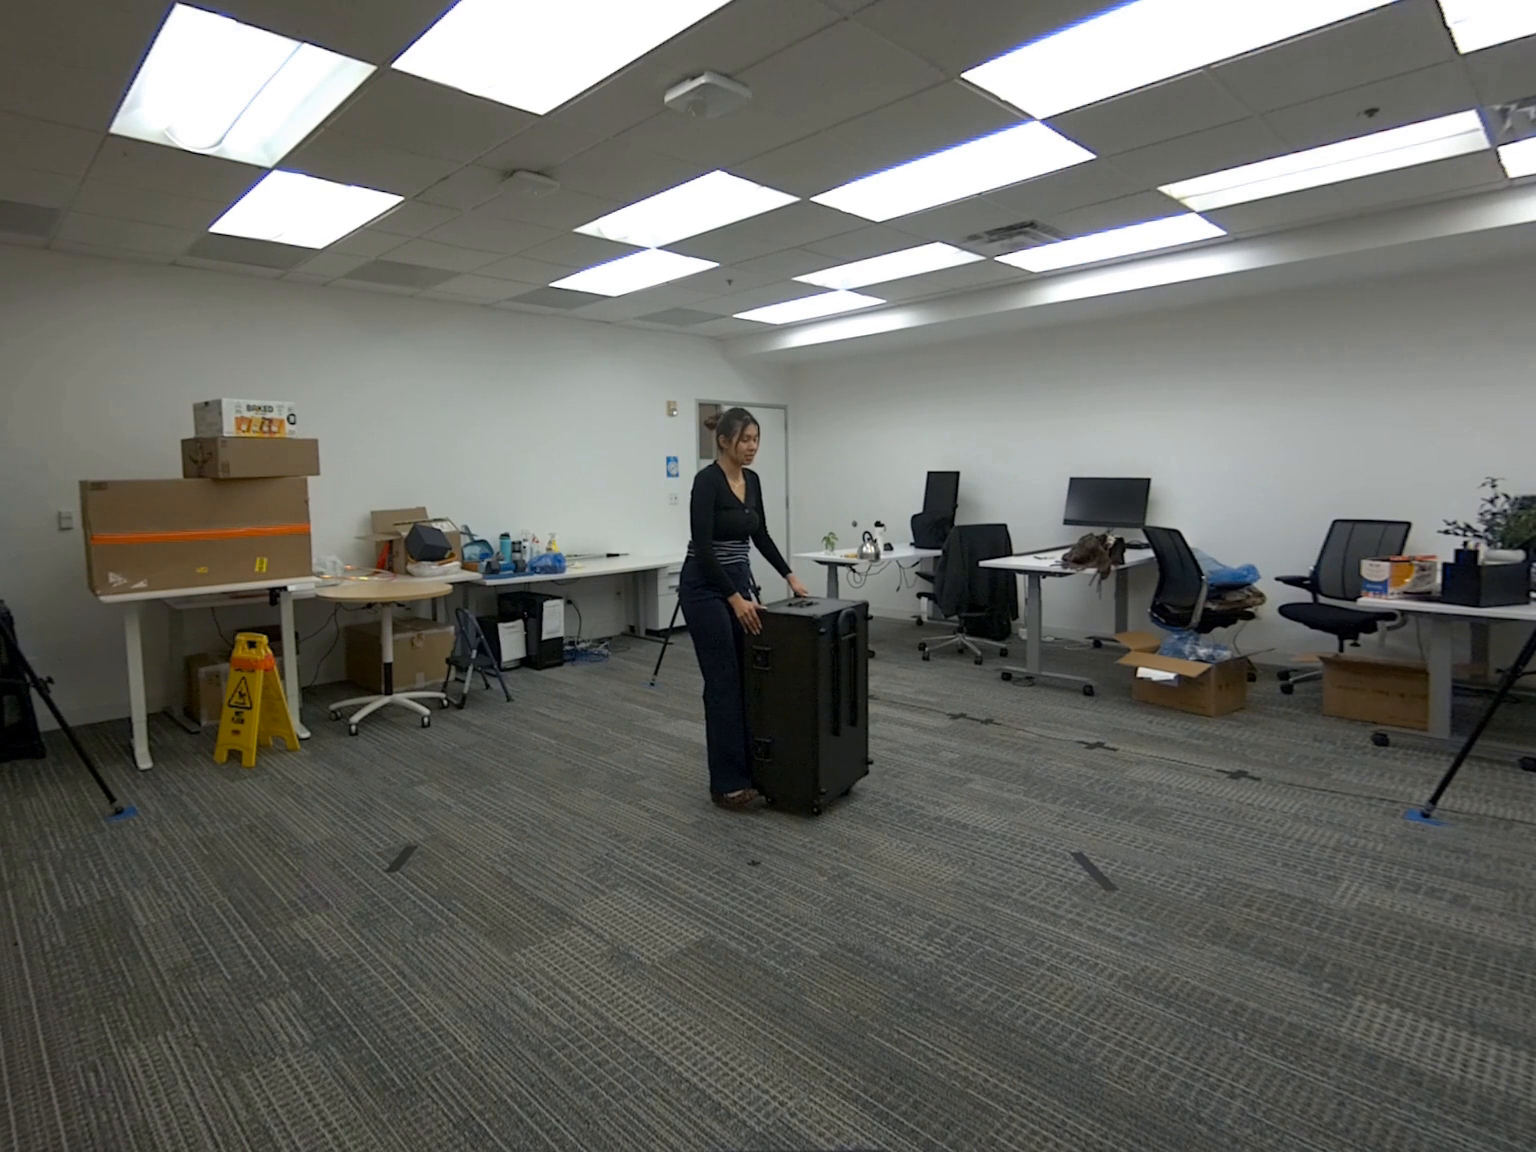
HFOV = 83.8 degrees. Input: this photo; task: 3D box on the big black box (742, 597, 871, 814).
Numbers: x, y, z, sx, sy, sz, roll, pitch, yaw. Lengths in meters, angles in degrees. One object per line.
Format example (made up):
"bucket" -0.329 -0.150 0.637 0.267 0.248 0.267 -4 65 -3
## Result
"big black box" 0.188 0.547 3.689 0.407 0.858 0.509 3 6 32
